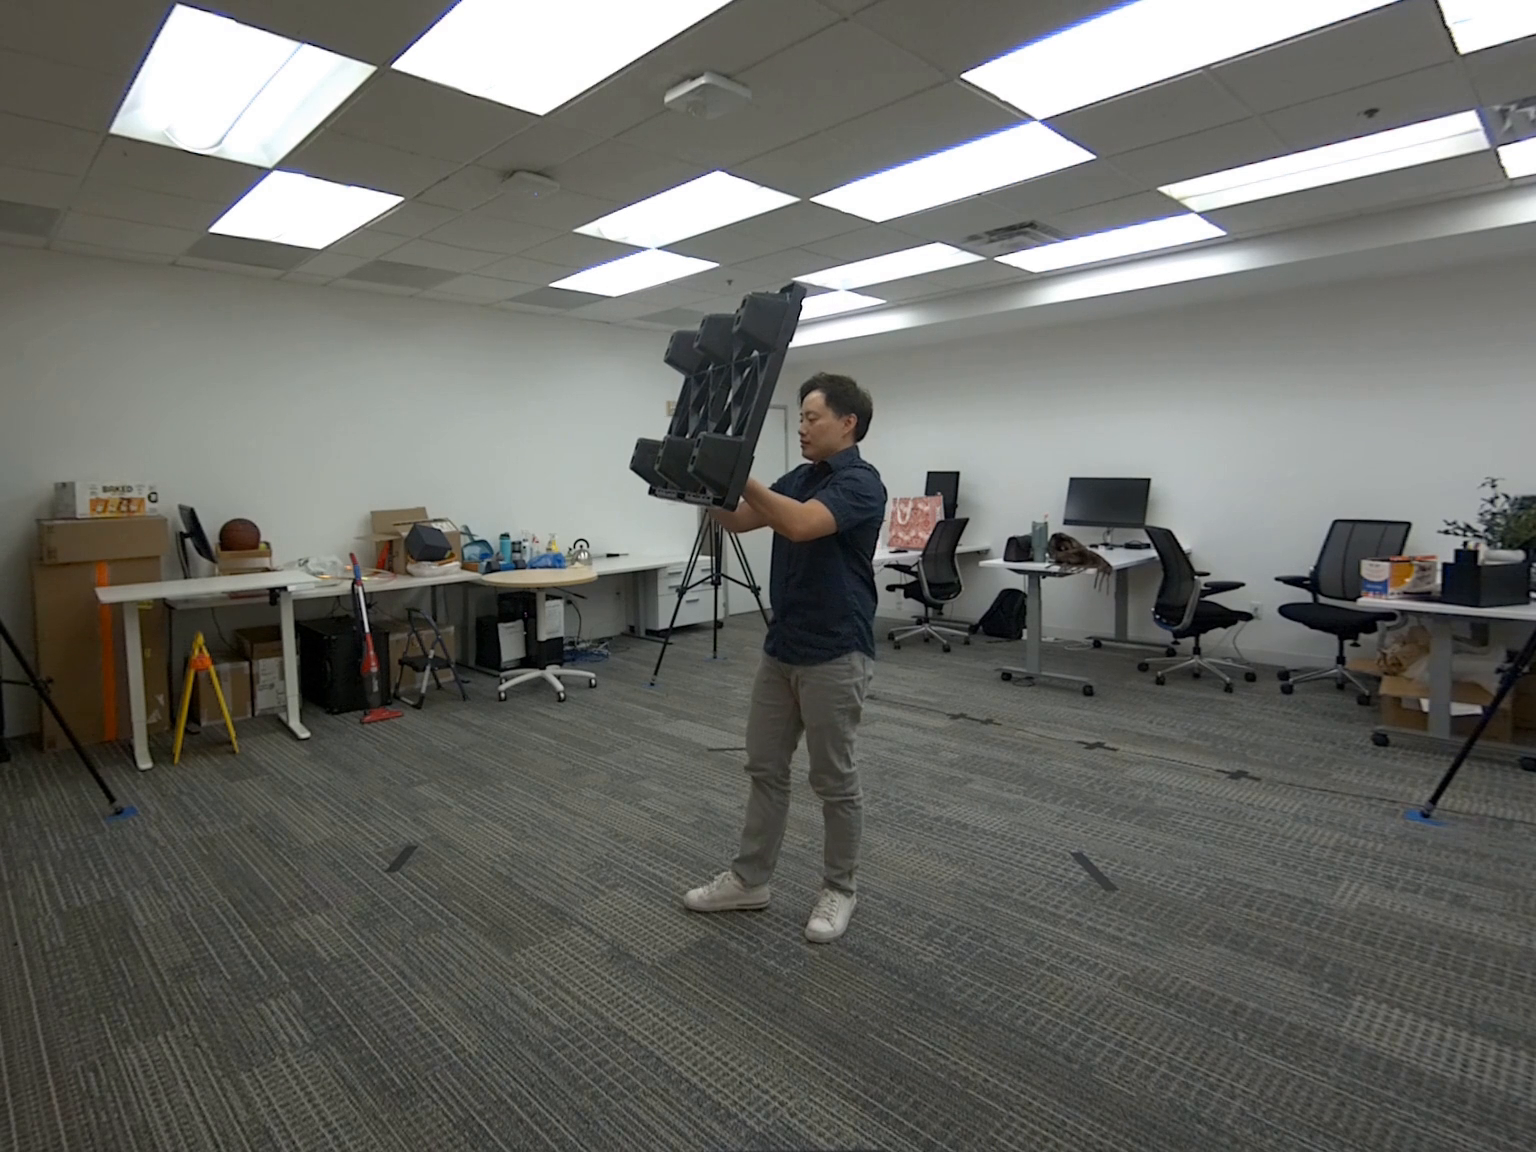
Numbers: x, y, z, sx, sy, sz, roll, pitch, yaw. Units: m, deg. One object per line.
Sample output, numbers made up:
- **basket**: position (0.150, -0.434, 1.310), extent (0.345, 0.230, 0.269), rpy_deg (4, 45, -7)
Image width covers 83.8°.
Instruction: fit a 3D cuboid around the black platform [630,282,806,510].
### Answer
- **black platform**: position (-0.190, -0.514, 2.484), extent (0.140, 0.605, 0.824), rpy_deg (17, 0, -22)
